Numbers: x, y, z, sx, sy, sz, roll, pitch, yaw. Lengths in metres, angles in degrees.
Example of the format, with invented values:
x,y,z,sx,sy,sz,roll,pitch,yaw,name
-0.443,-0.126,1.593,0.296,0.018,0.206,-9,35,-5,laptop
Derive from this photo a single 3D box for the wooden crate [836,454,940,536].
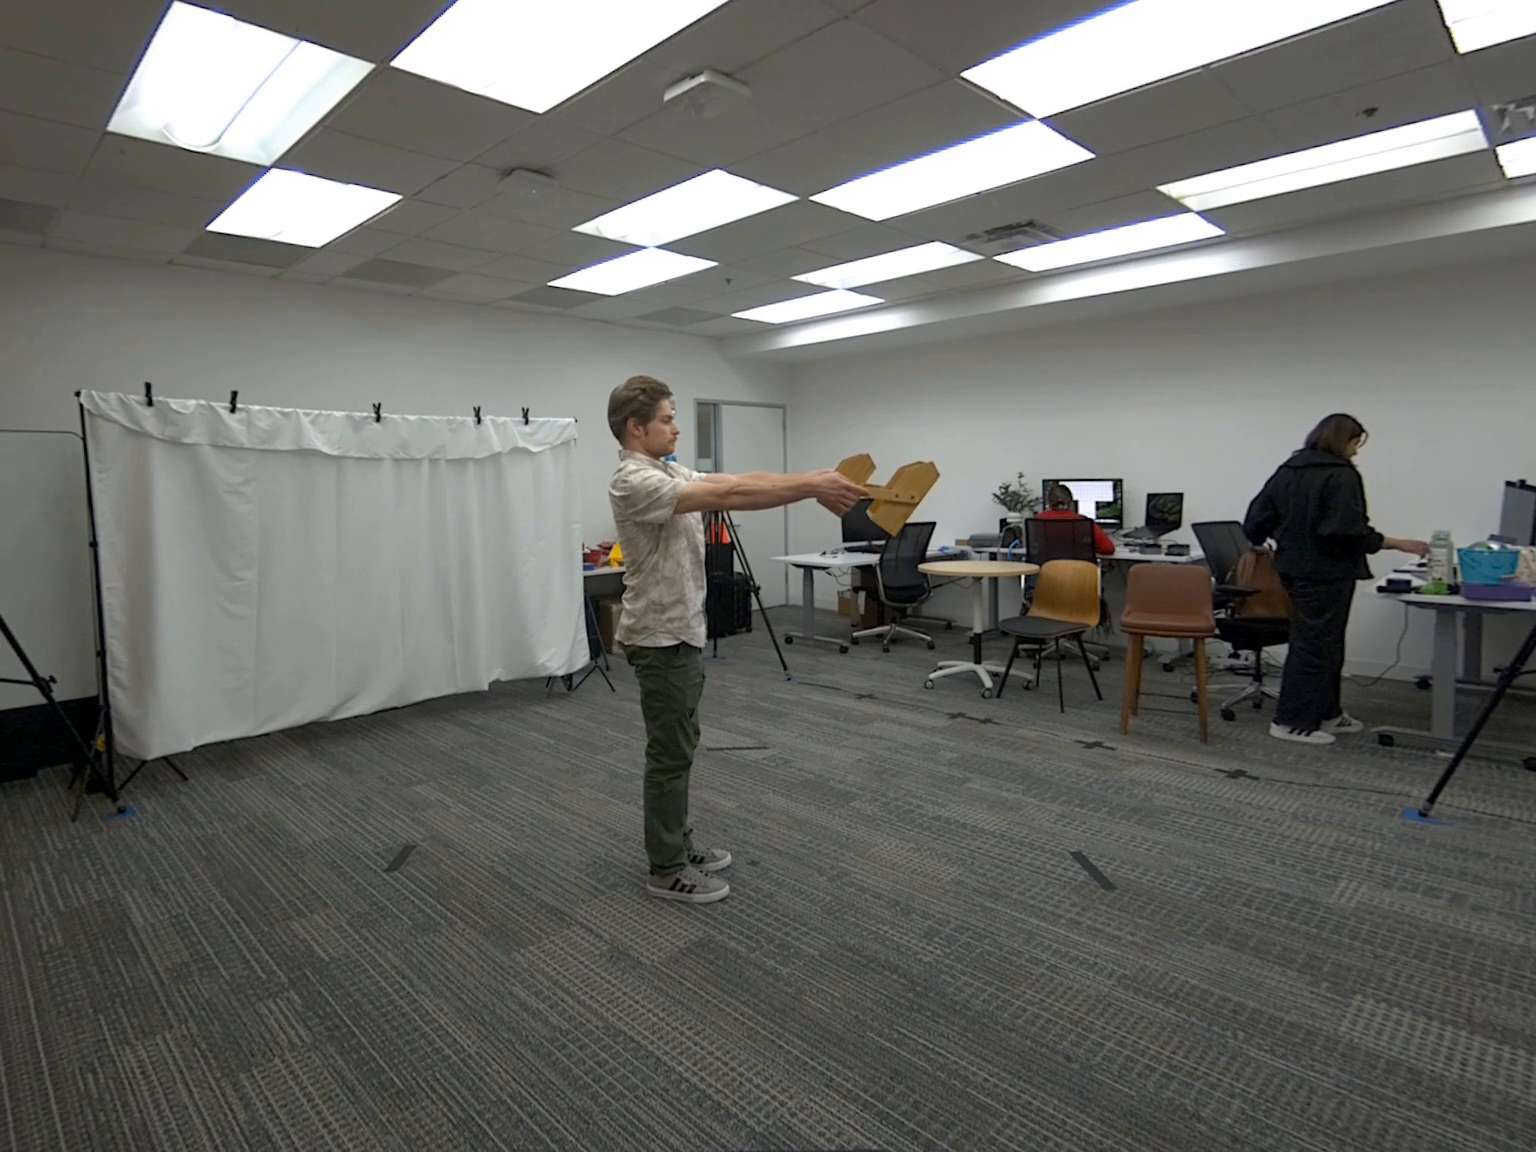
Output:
x,y,z,sx,sy,sz,roll,pitch,yaw,name
0.354,-0.293,2.739,0.275,0.301,0.323,36,10,2,wooden crate
